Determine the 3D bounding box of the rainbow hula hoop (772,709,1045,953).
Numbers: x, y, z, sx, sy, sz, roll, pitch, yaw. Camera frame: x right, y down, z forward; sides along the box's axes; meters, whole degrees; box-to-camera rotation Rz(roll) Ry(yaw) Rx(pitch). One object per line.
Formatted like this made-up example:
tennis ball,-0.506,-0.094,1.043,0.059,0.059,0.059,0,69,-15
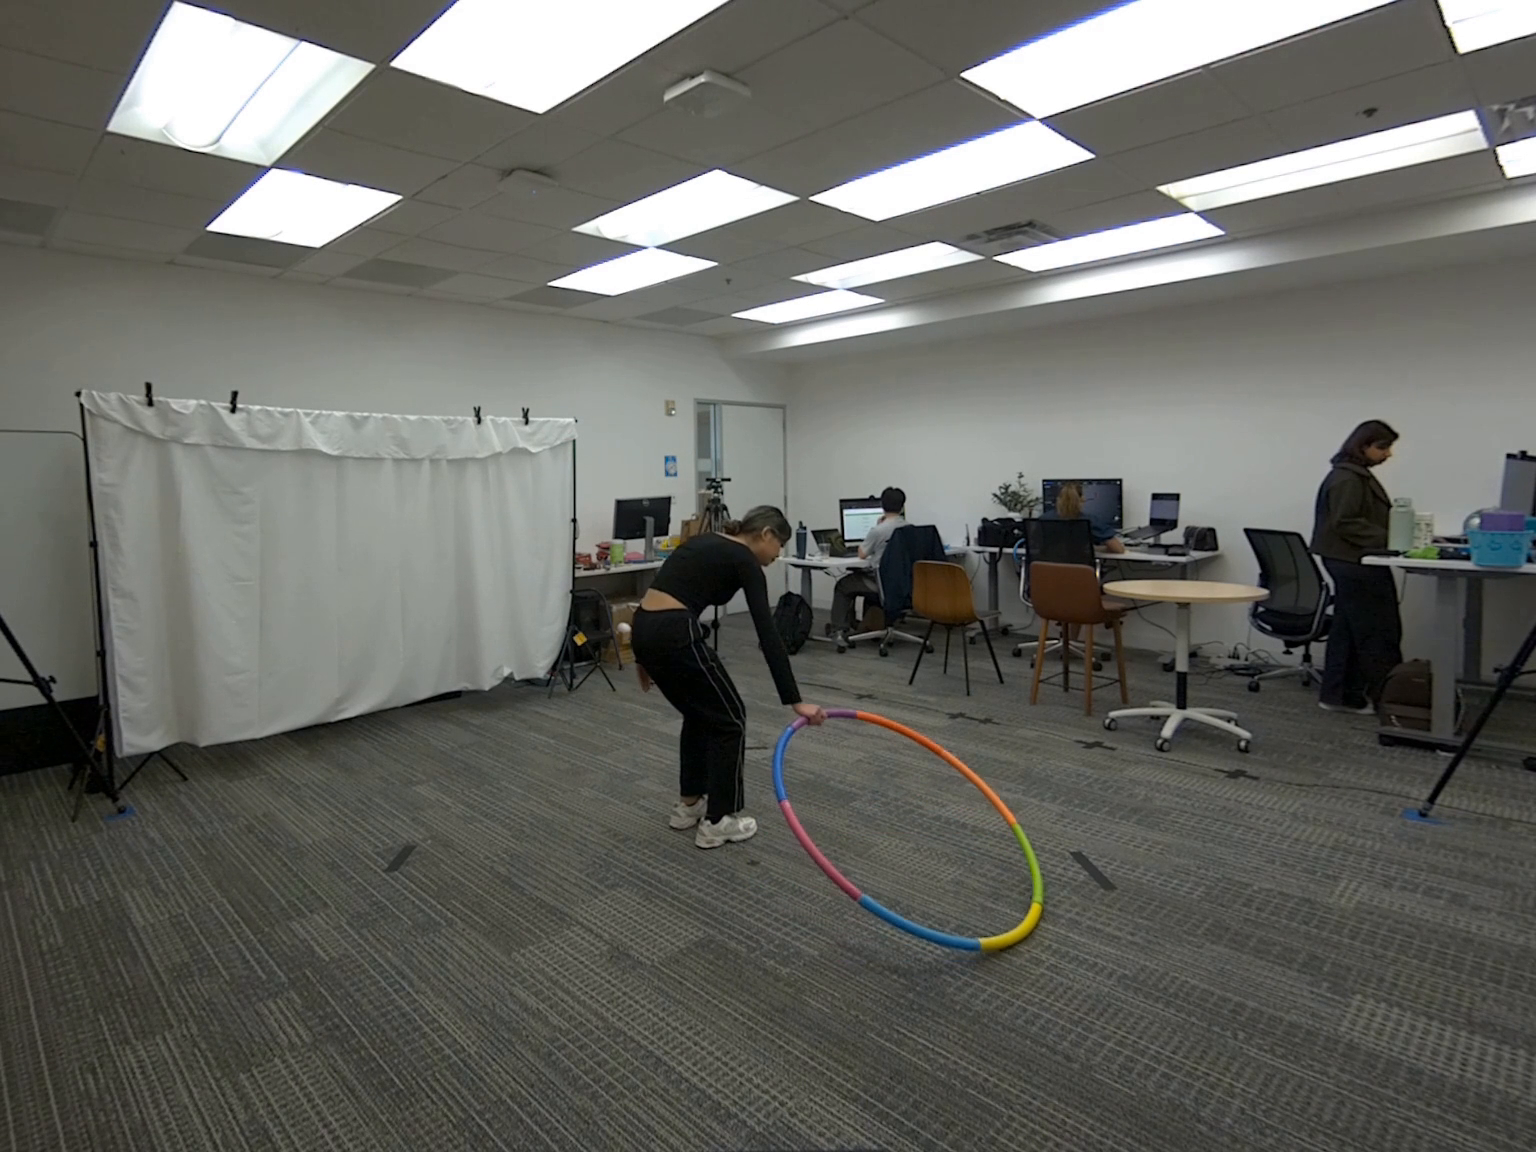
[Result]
rainbow hula hoop,0.462,0.786,2.858,0.966,0.035,1.001,19,26,-11
